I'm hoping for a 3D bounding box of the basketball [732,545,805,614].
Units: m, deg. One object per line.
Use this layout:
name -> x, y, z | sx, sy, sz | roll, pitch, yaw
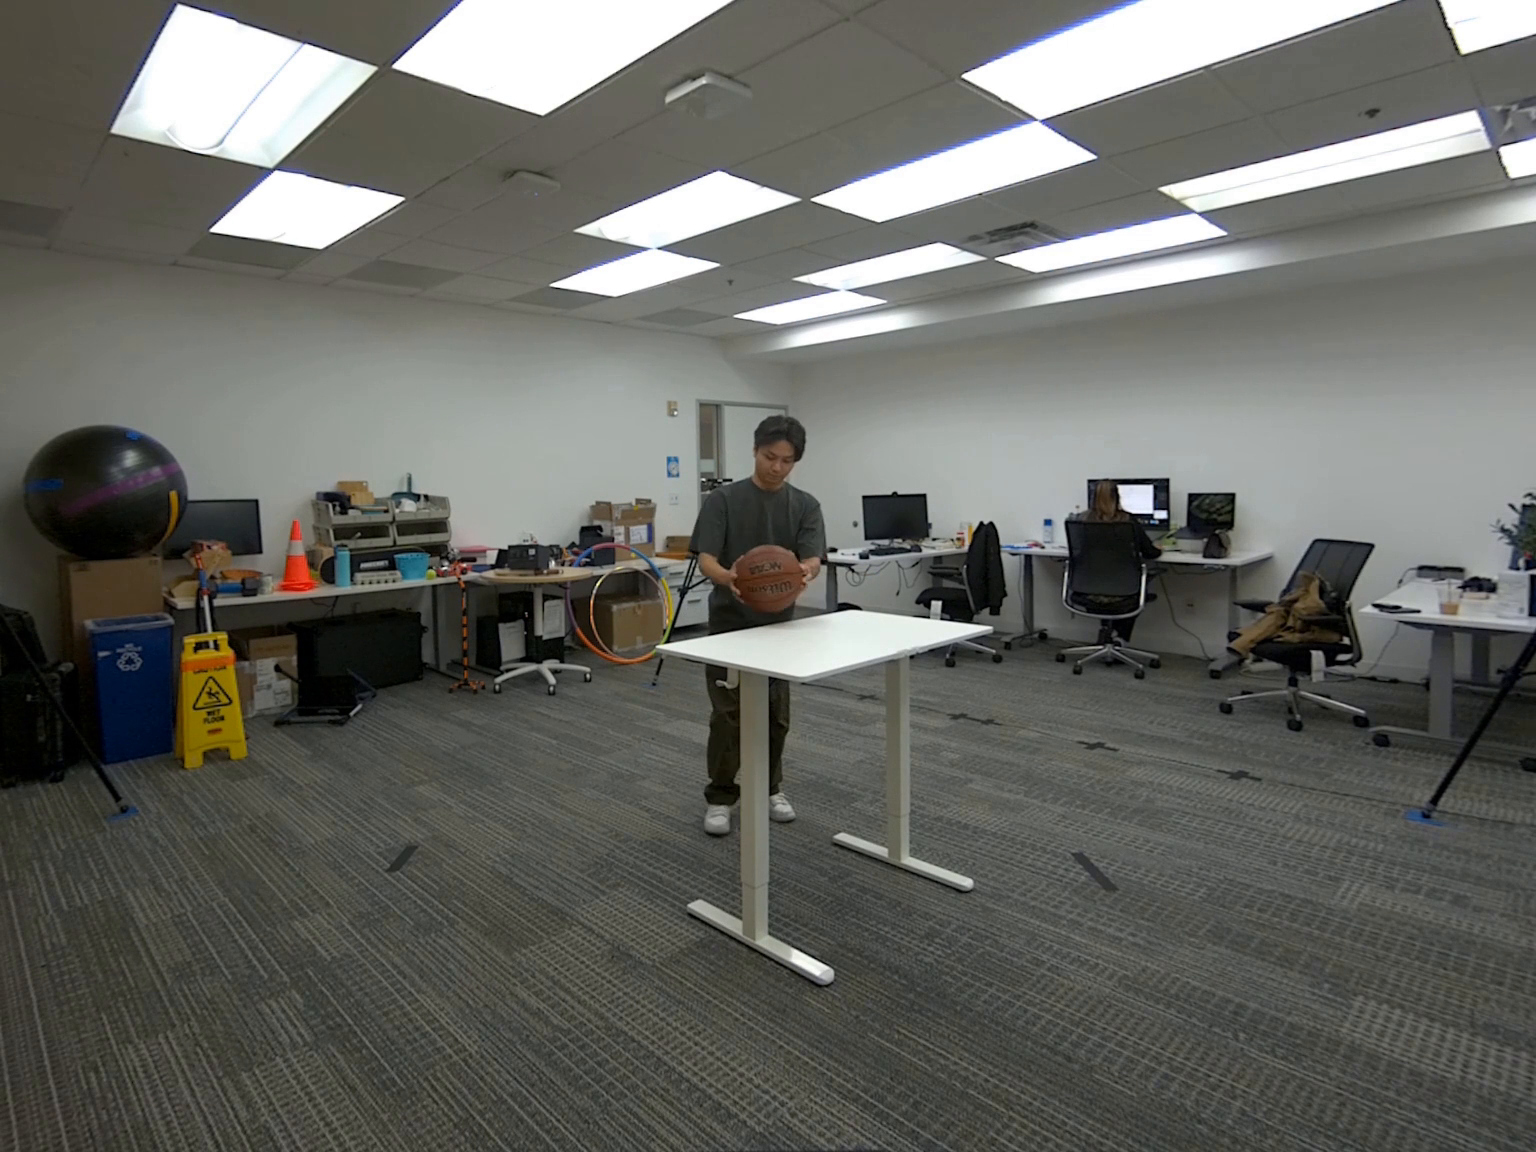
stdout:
basketball -> 0.006, 0.023, 3.018 | 0.236, 0.235, 0.237 | -1, 5, -2
